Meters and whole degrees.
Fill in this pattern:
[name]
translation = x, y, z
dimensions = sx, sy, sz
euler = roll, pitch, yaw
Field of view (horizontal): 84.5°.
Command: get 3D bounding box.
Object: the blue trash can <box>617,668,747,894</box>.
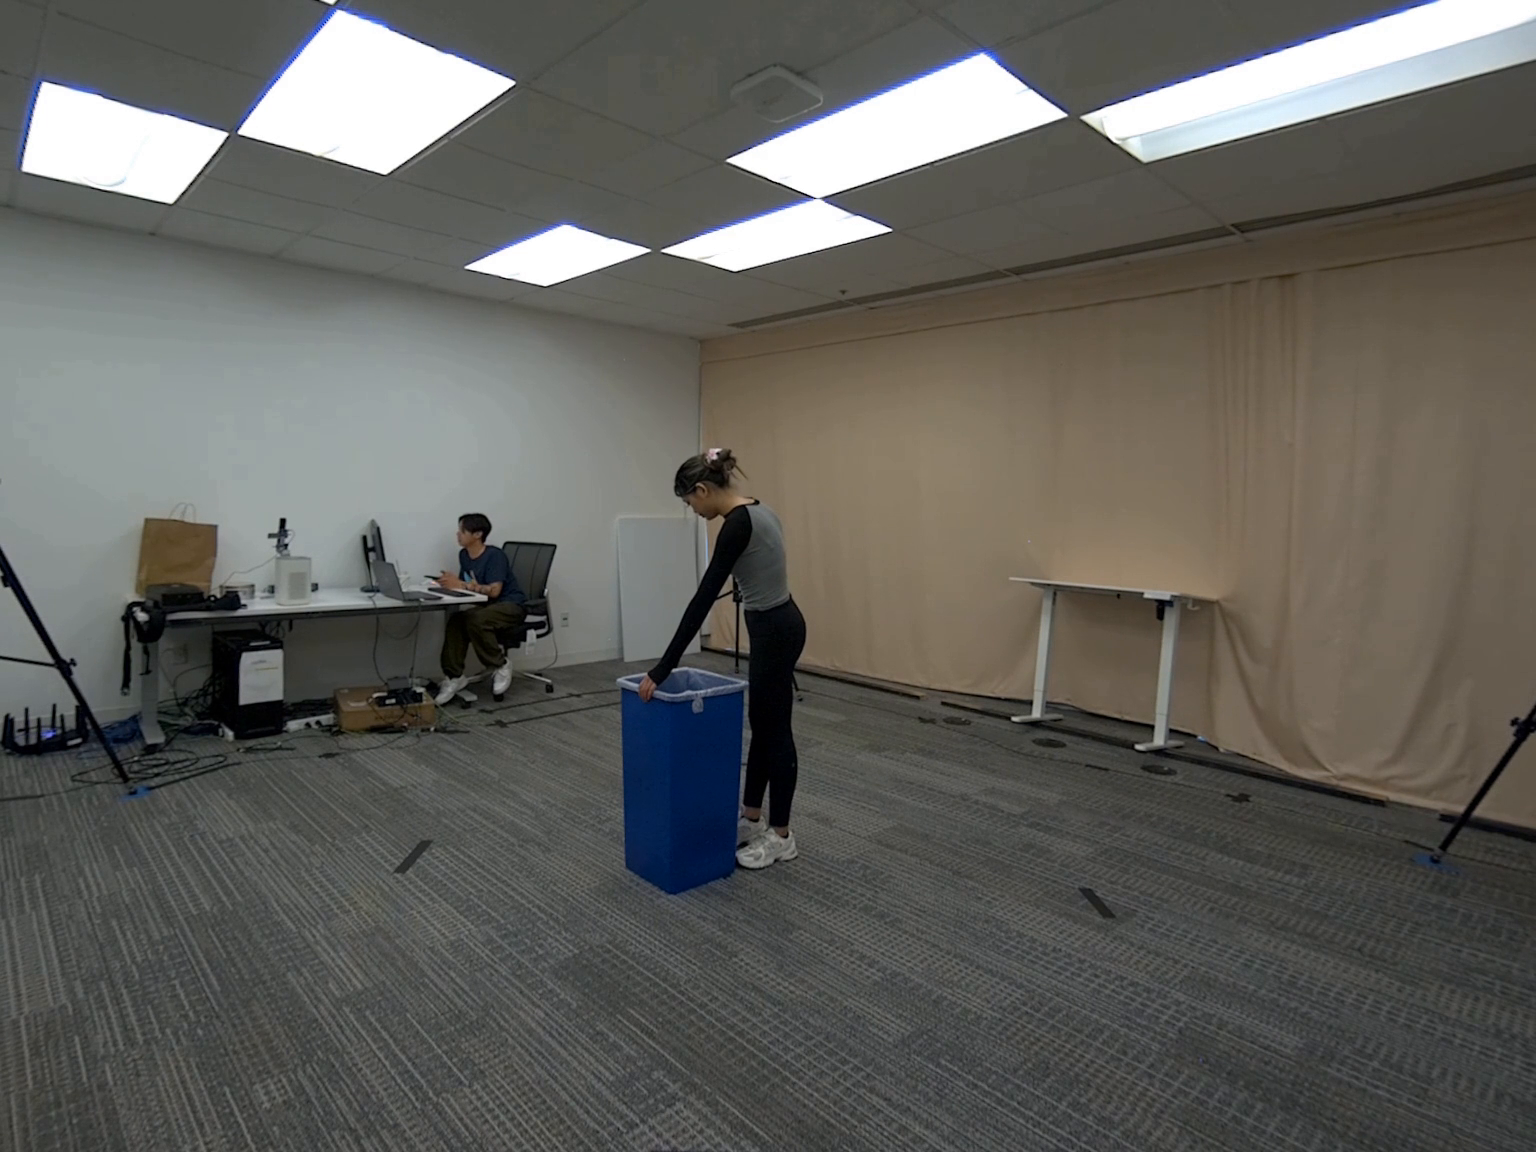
[blue trash can]
translation = -0.337, 0.743, 3.133
dimensions = 0.369, 0.712, 0.383
euler = -2, 5, -42
